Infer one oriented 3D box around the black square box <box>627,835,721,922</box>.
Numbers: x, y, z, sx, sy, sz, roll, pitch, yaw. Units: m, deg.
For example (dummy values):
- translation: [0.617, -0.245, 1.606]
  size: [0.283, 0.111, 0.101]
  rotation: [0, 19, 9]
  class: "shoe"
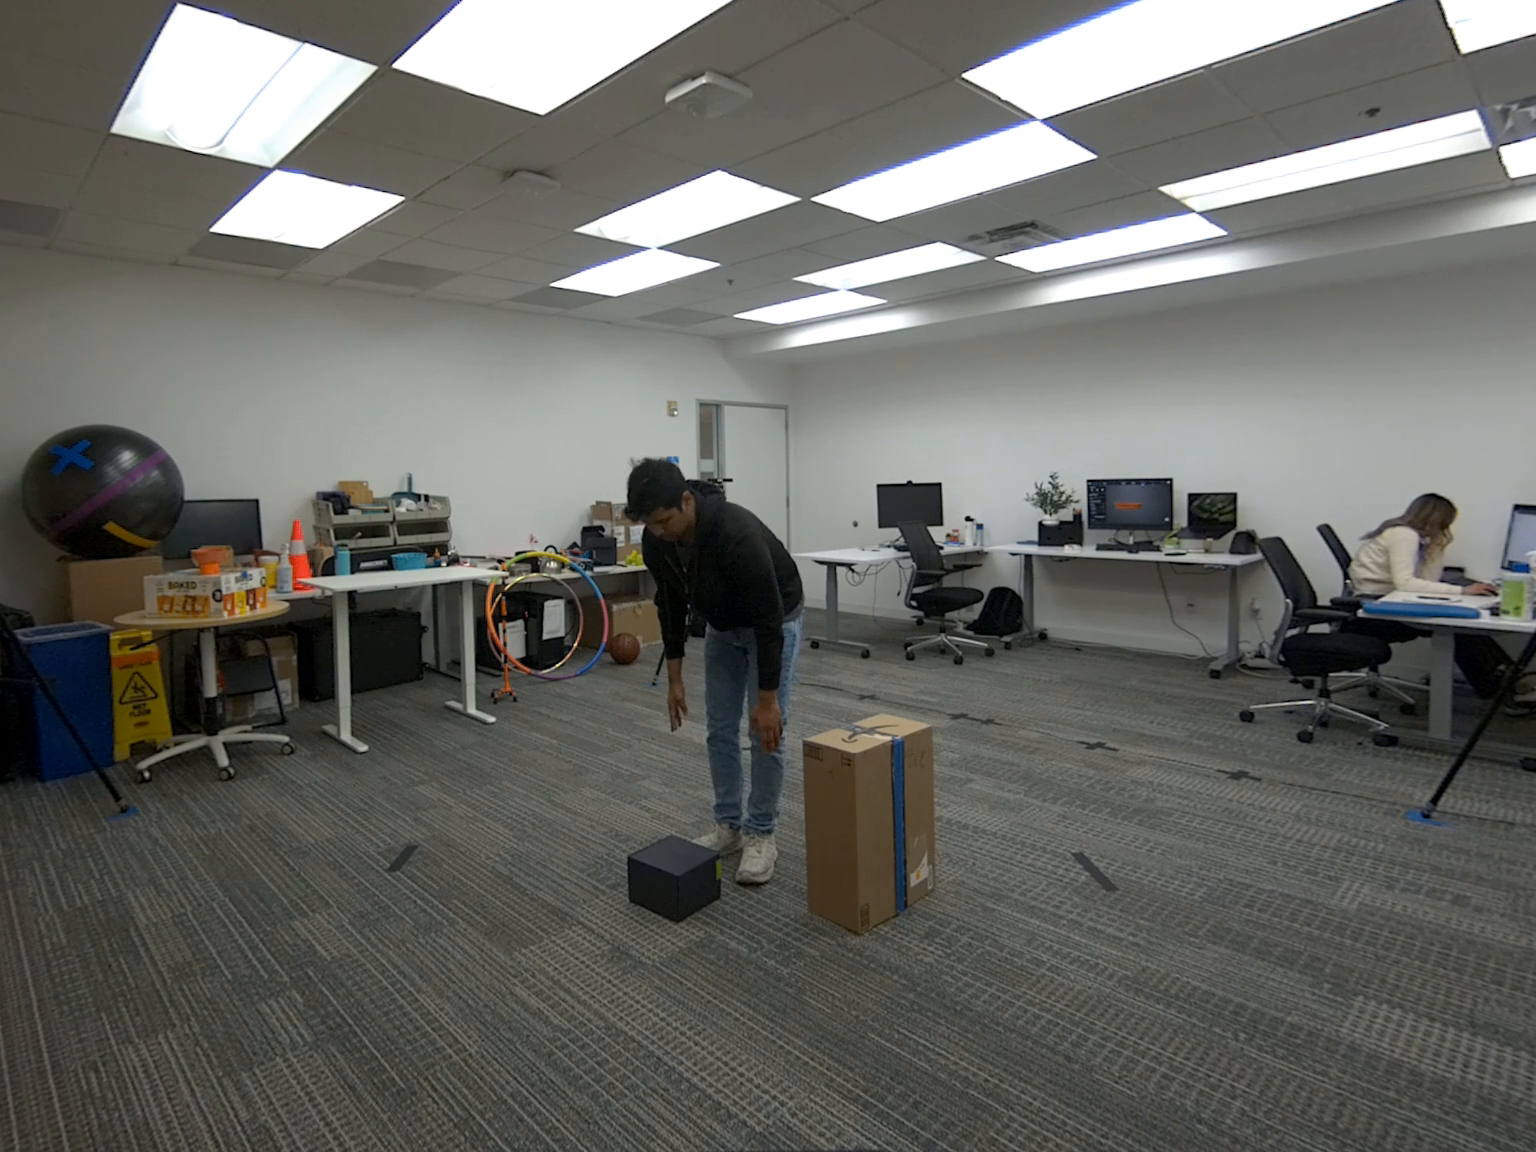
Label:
- translation: [-0.307, 0.999, 2.838]
  size: [0.235, 0.155, 0.211]
  rotation: [4, 7, 39]
  class: "black square box"
